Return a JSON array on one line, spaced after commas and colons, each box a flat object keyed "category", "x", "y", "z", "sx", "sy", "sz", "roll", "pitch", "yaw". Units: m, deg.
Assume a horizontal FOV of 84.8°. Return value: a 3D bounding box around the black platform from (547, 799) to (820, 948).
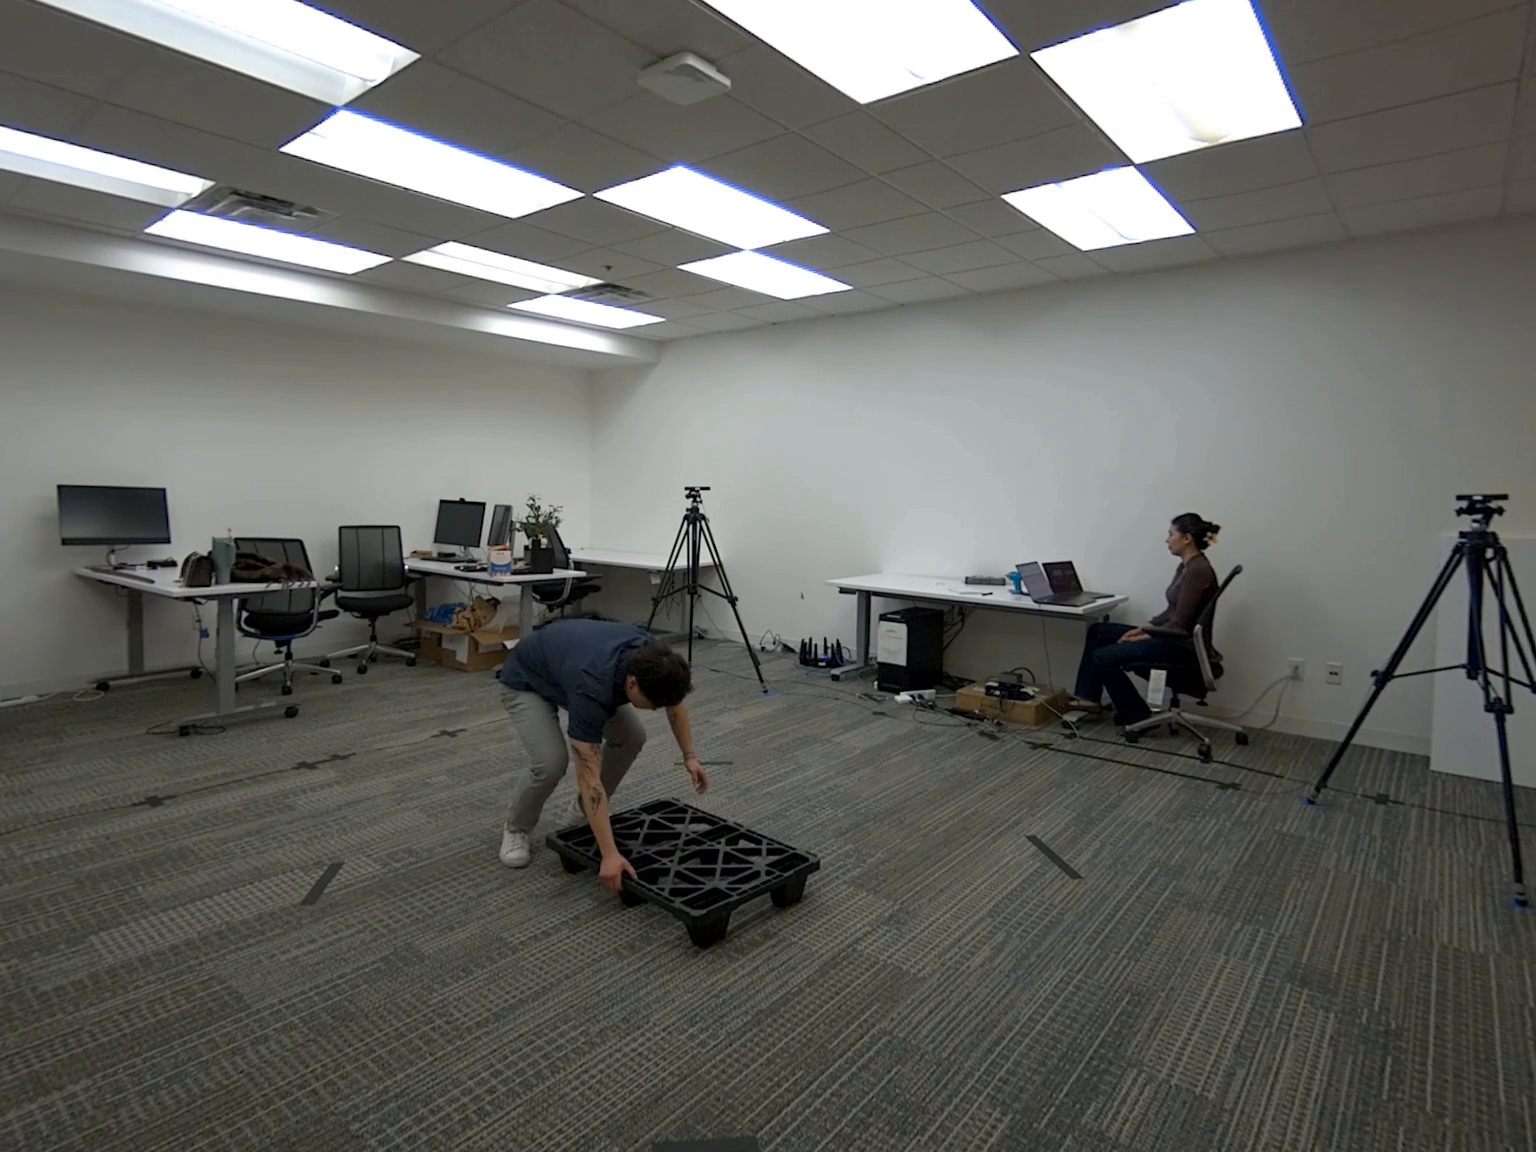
[{"category": "black platform", "x": -0.315, "y": 1.011, "z": 2.972, "sx": 0.833, "sy": 0.143, "sz": 0.587, "roll": 6, "pitch": 8, "yaw": 43}]
